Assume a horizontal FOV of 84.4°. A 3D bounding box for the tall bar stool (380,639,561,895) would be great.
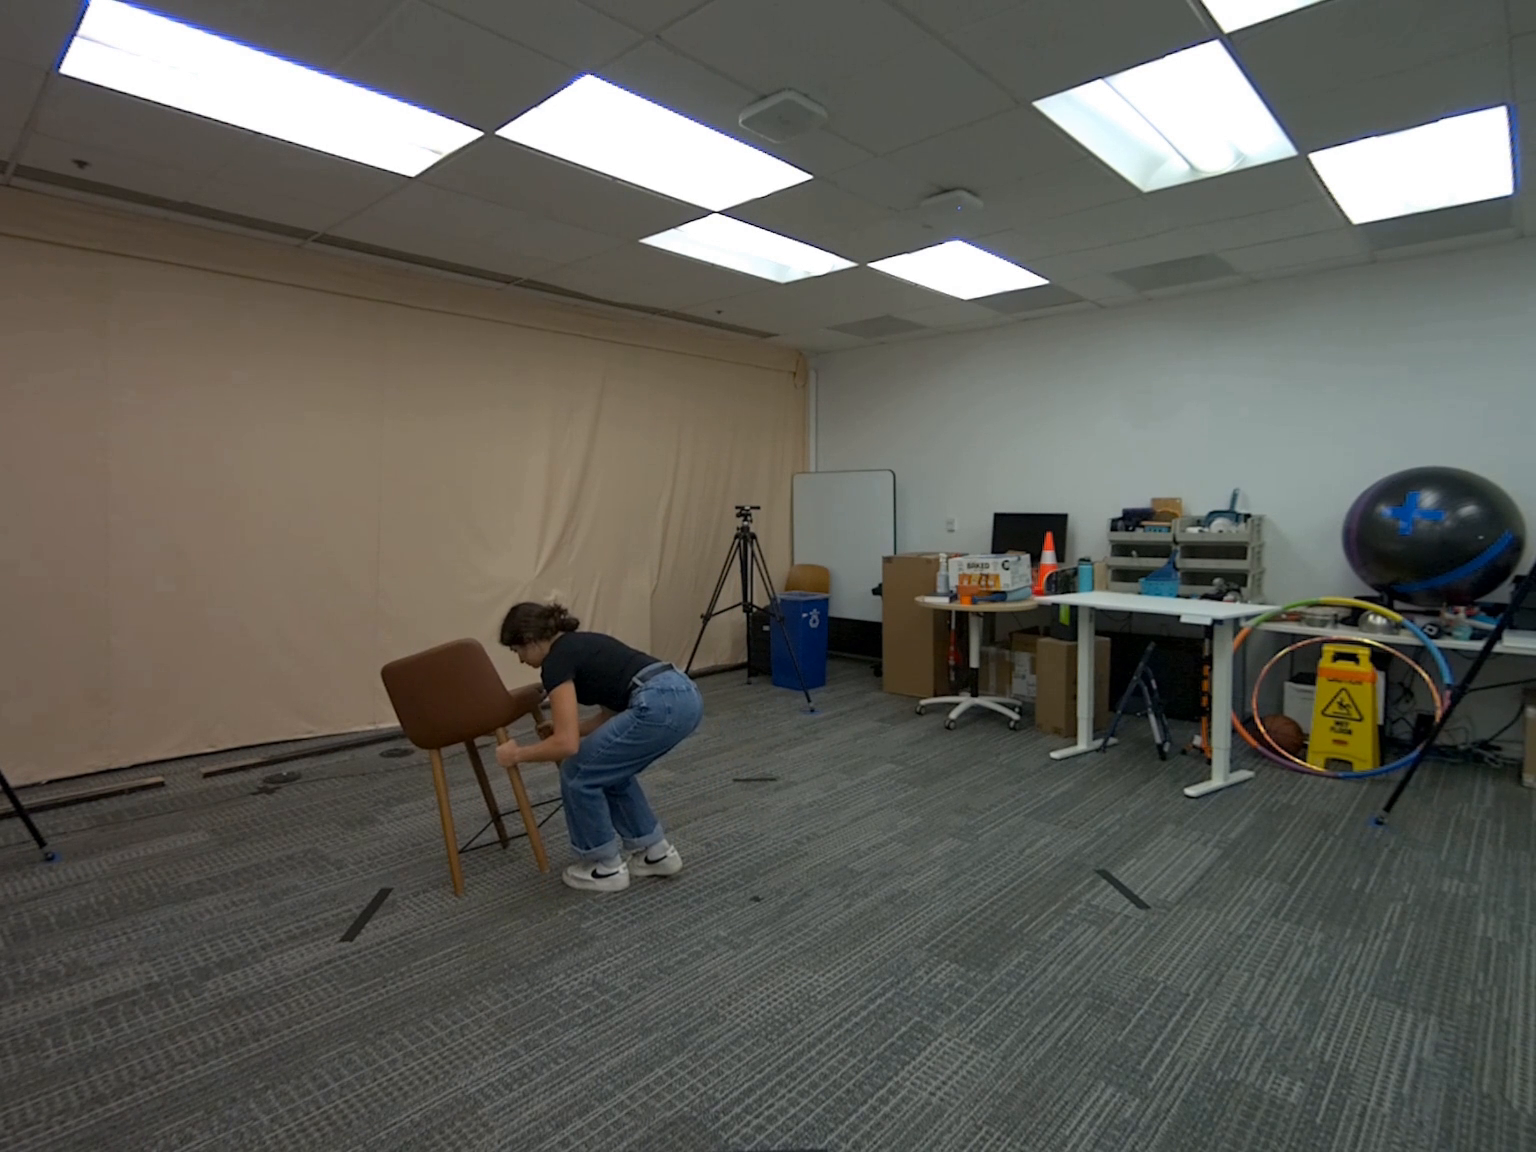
[{"bbox_3d":[-1.066,0.667,3.206,0.461,0.888,0.464,-18,2,10],"label":"tall bar stool"}]
